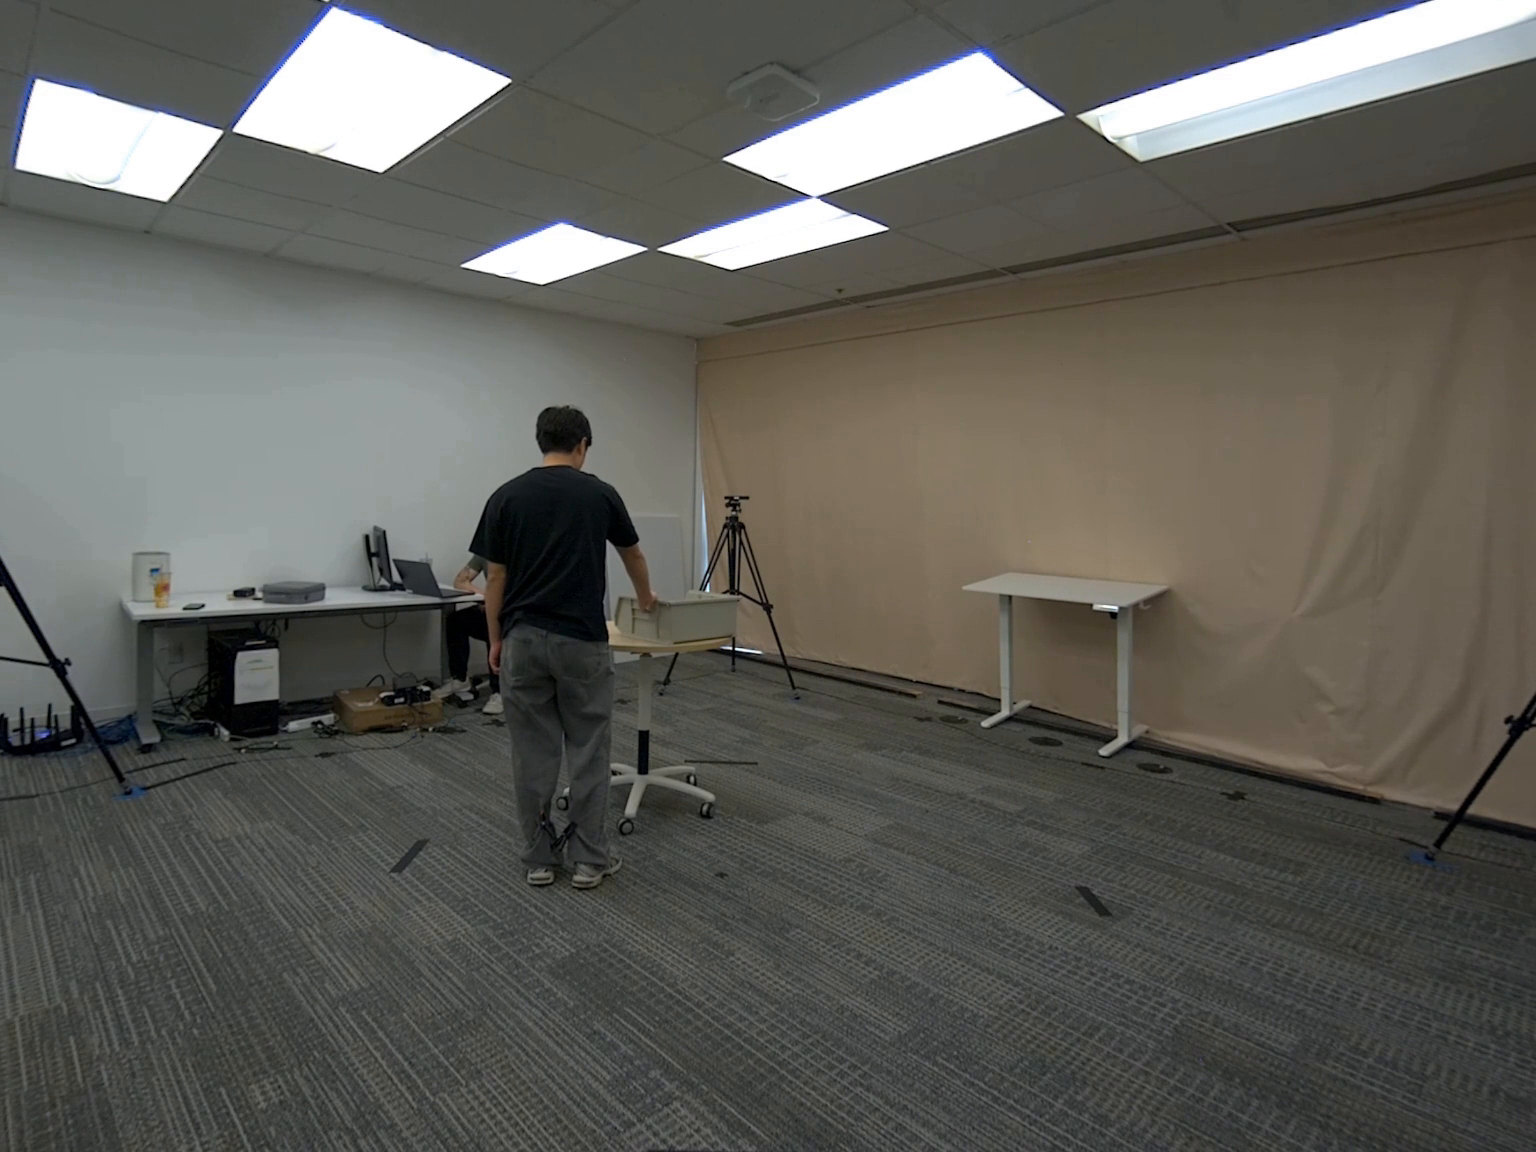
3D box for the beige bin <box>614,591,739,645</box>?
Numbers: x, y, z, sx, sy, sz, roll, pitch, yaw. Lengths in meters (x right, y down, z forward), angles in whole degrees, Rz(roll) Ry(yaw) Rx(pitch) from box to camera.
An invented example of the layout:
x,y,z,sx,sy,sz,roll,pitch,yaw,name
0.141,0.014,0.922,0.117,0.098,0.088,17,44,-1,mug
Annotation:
x,y,z,sx,sy,sz,roll,pitch,yaw,name
-0.402,0.174,3.694,0.387,0.188,0.412,7,7,45,beige bin
